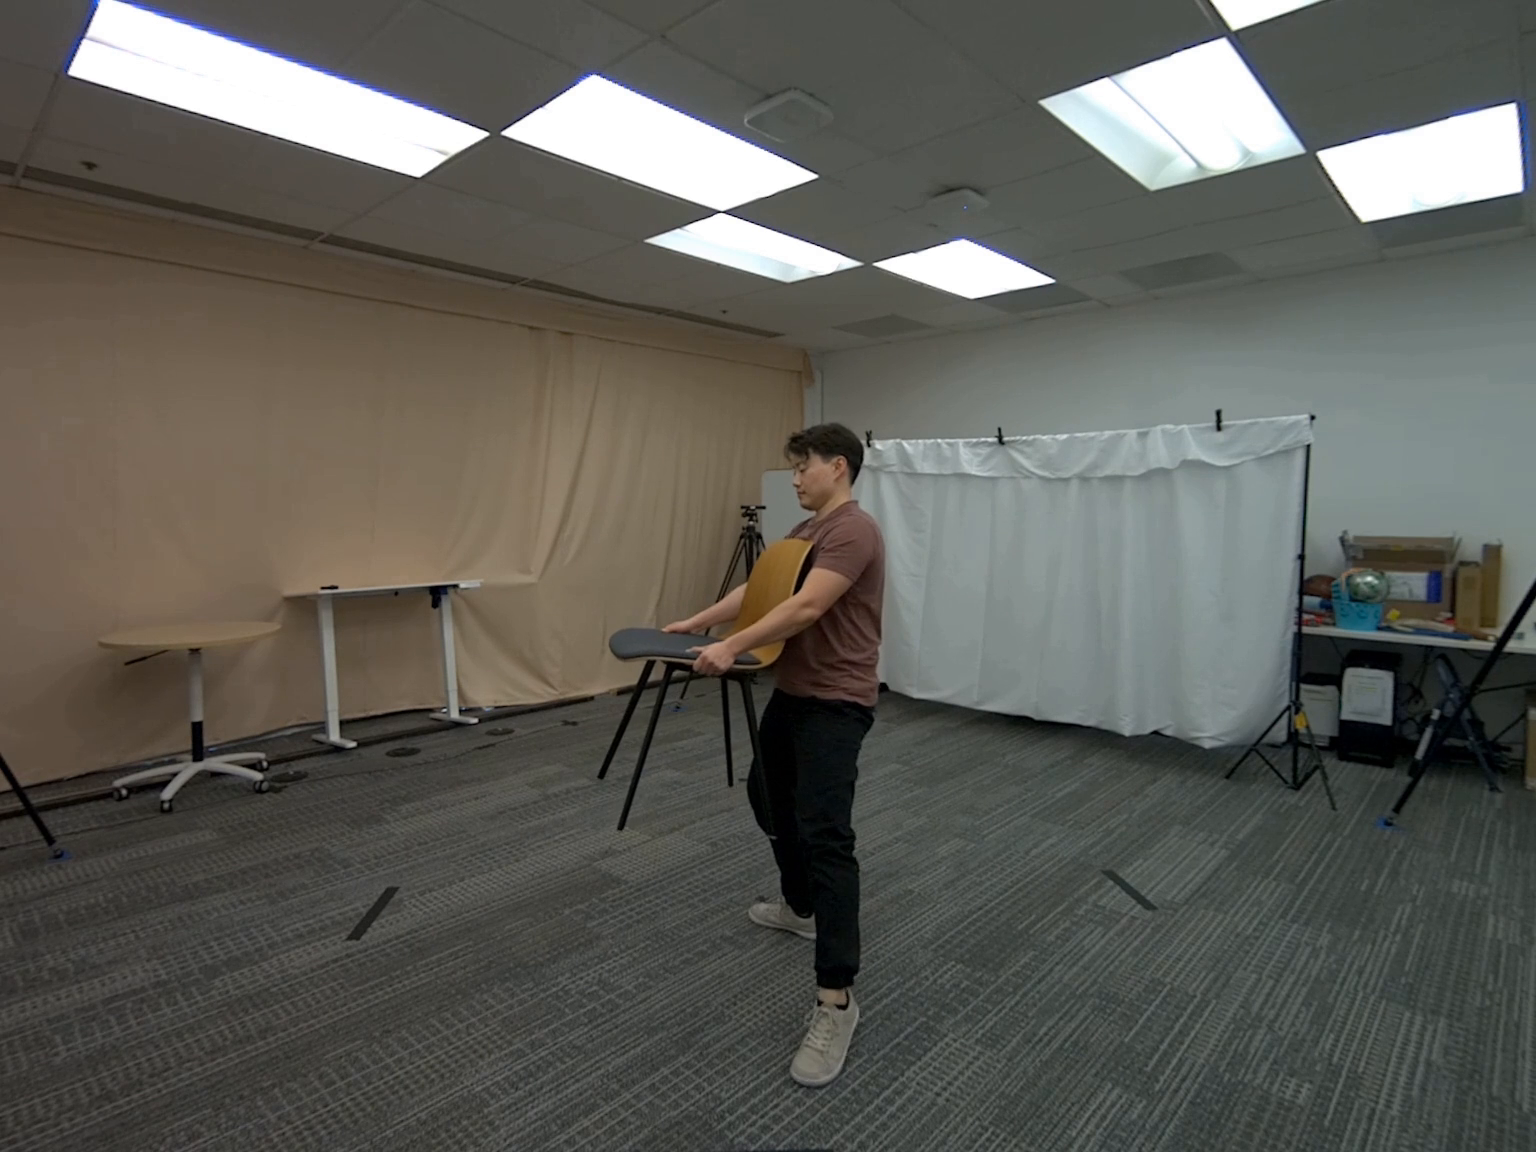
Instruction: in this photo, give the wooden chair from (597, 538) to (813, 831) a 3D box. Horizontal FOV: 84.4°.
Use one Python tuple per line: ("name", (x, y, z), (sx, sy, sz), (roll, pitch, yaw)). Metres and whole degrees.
("wooden chair", (-0.208, 0.279, 2.497), (0.513, 0.877, 0.487), (11, 1, -17))
